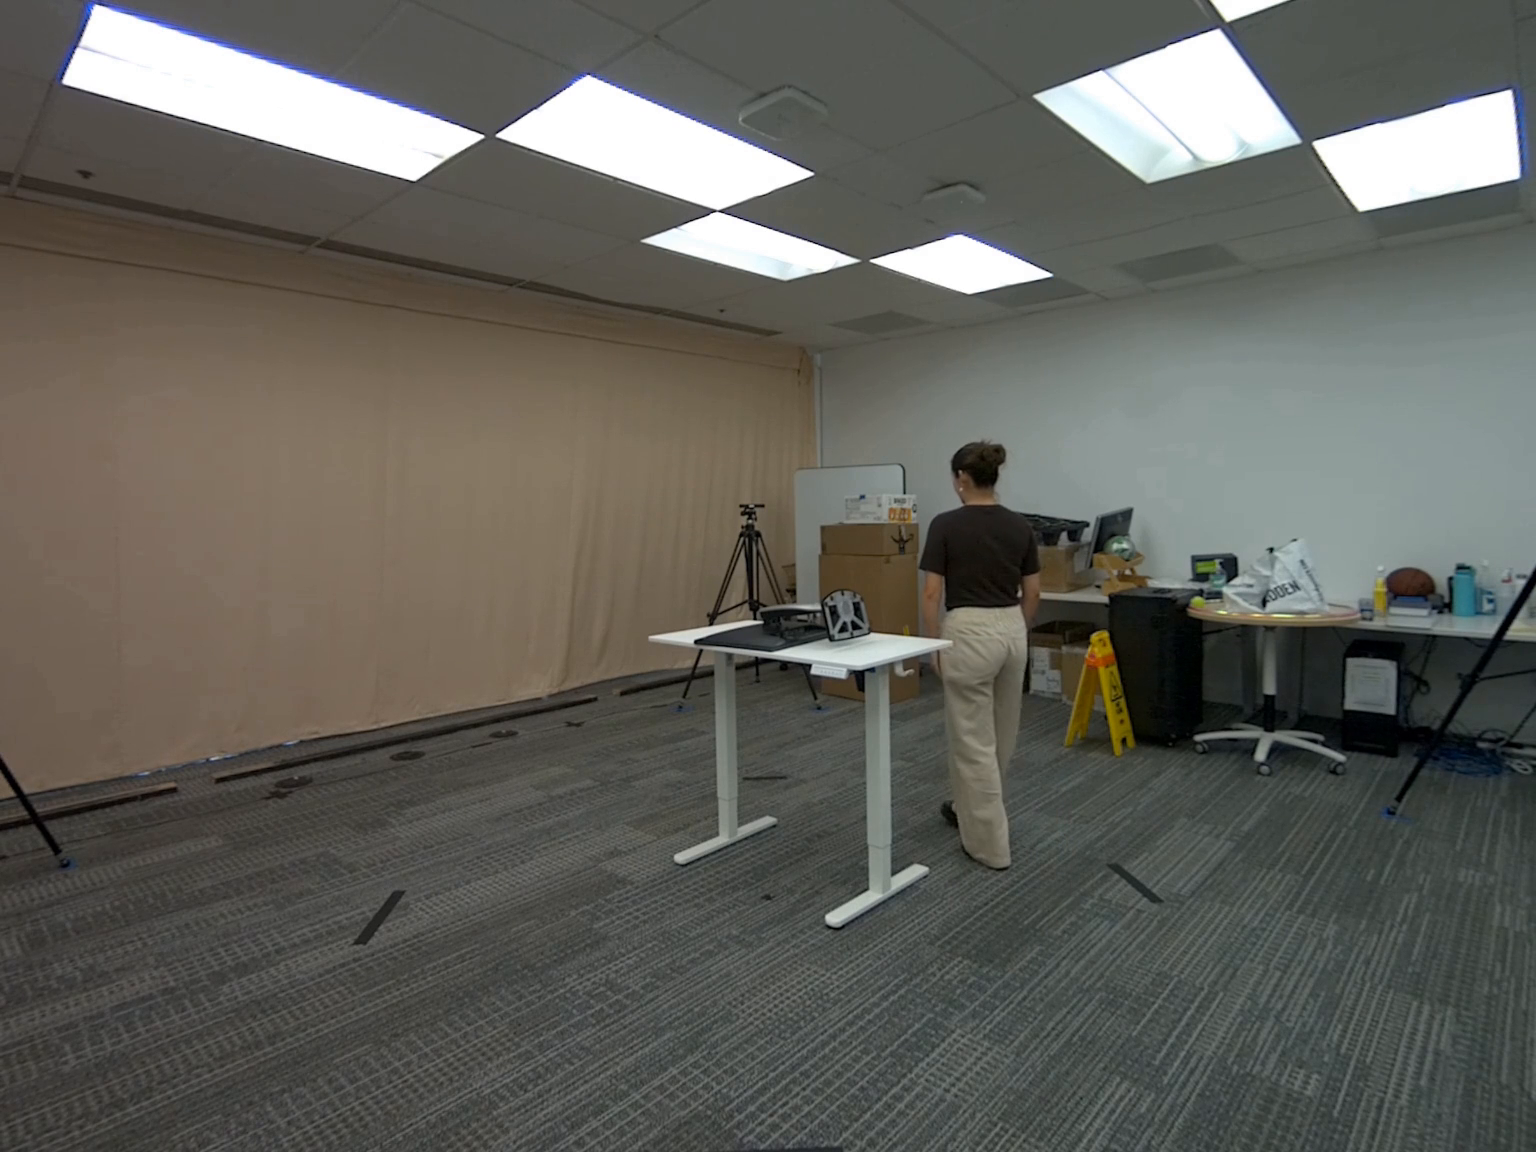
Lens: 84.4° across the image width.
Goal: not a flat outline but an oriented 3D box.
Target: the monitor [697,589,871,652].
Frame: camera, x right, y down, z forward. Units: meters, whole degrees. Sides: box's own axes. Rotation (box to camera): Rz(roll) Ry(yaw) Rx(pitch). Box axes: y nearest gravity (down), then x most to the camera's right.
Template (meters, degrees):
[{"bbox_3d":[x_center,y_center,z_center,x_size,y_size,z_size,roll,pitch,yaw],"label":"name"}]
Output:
[{"bbox_3d":[0.088,0.186,3.155,0.536,0.188,0.522,-14,-7,38],"label":"monitor"}]
